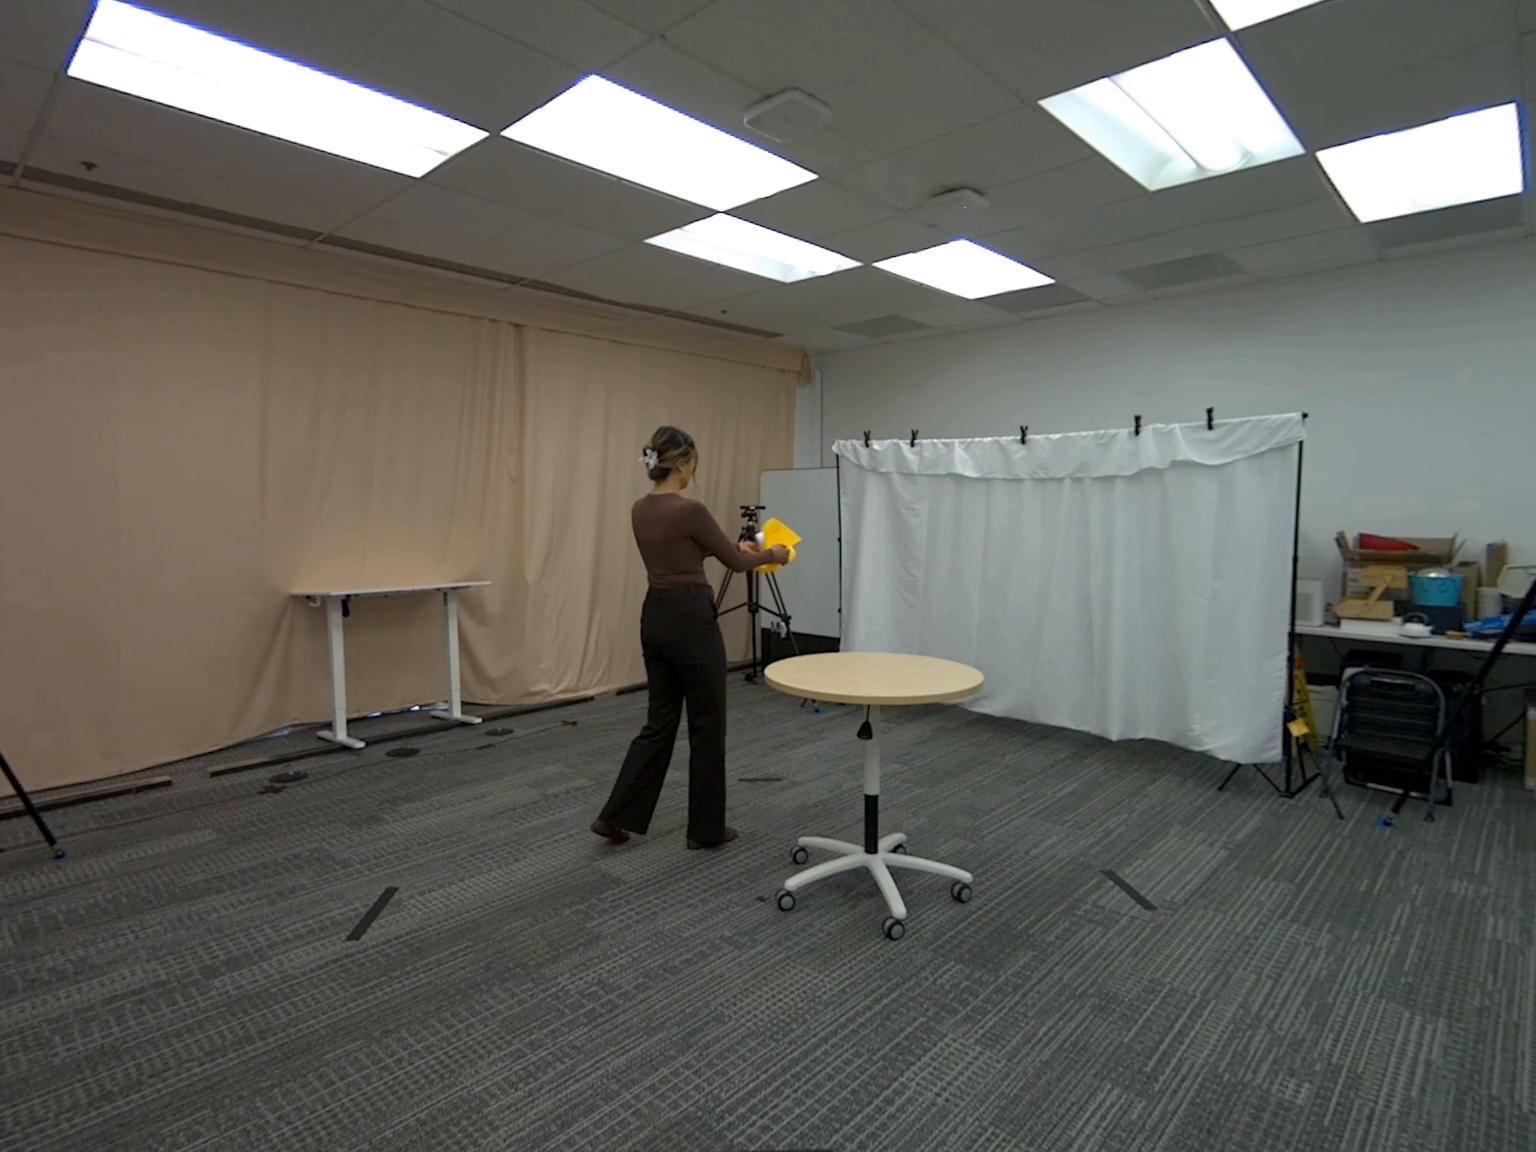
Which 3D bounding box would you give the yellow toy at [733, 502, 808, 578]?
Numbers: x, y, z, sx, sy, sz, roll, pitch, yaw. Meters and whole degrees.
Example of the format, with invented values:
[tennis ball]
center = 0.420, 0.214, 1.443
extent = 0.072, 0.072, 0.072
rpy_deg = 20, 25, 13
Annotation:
[yellow toy]
center = 0.008, -0.165, 3.746
extent = 0.202, 0.226, 0.200
rpy_deg = -31, 30, -28
